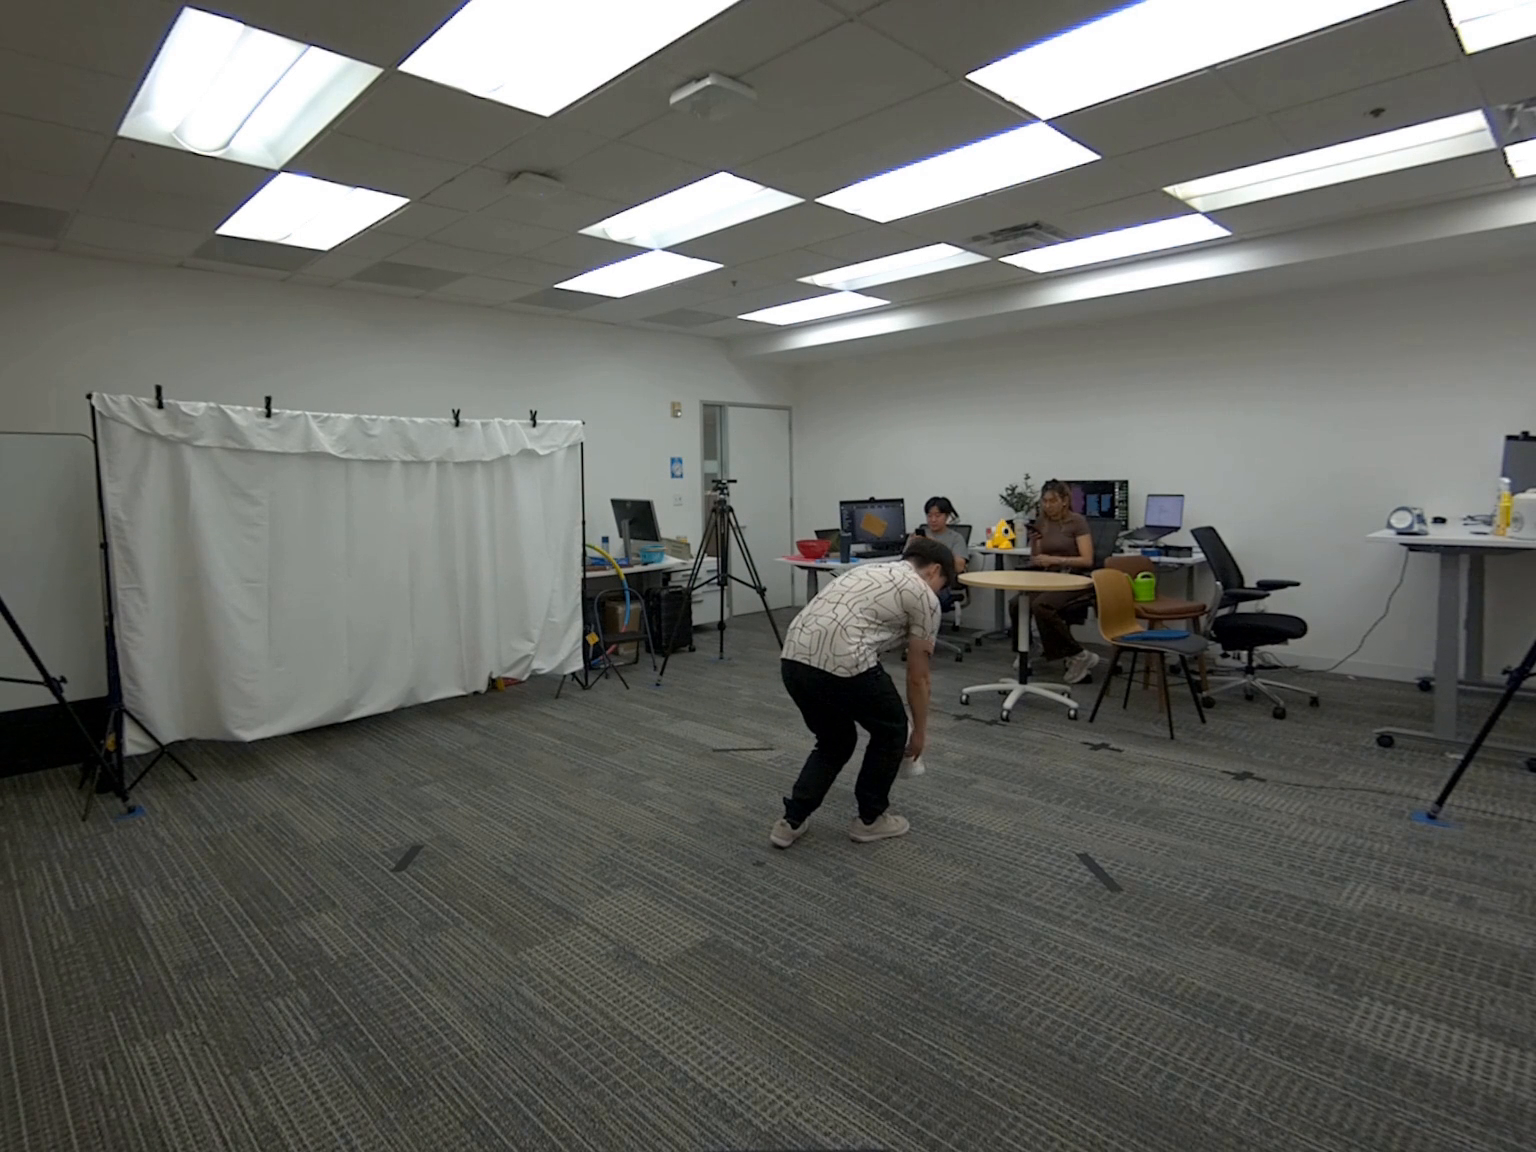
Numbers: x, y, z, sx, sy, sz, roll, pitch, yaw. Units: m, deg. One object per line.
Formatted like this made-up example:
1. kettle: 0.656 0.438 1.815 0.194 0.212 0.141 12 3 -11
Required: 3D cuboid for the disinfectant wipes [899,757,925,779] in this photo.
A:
1. disinfectant wipes: 0.581 0.724 3.562 0.117 0.220 0.117 -16 -10 -4
